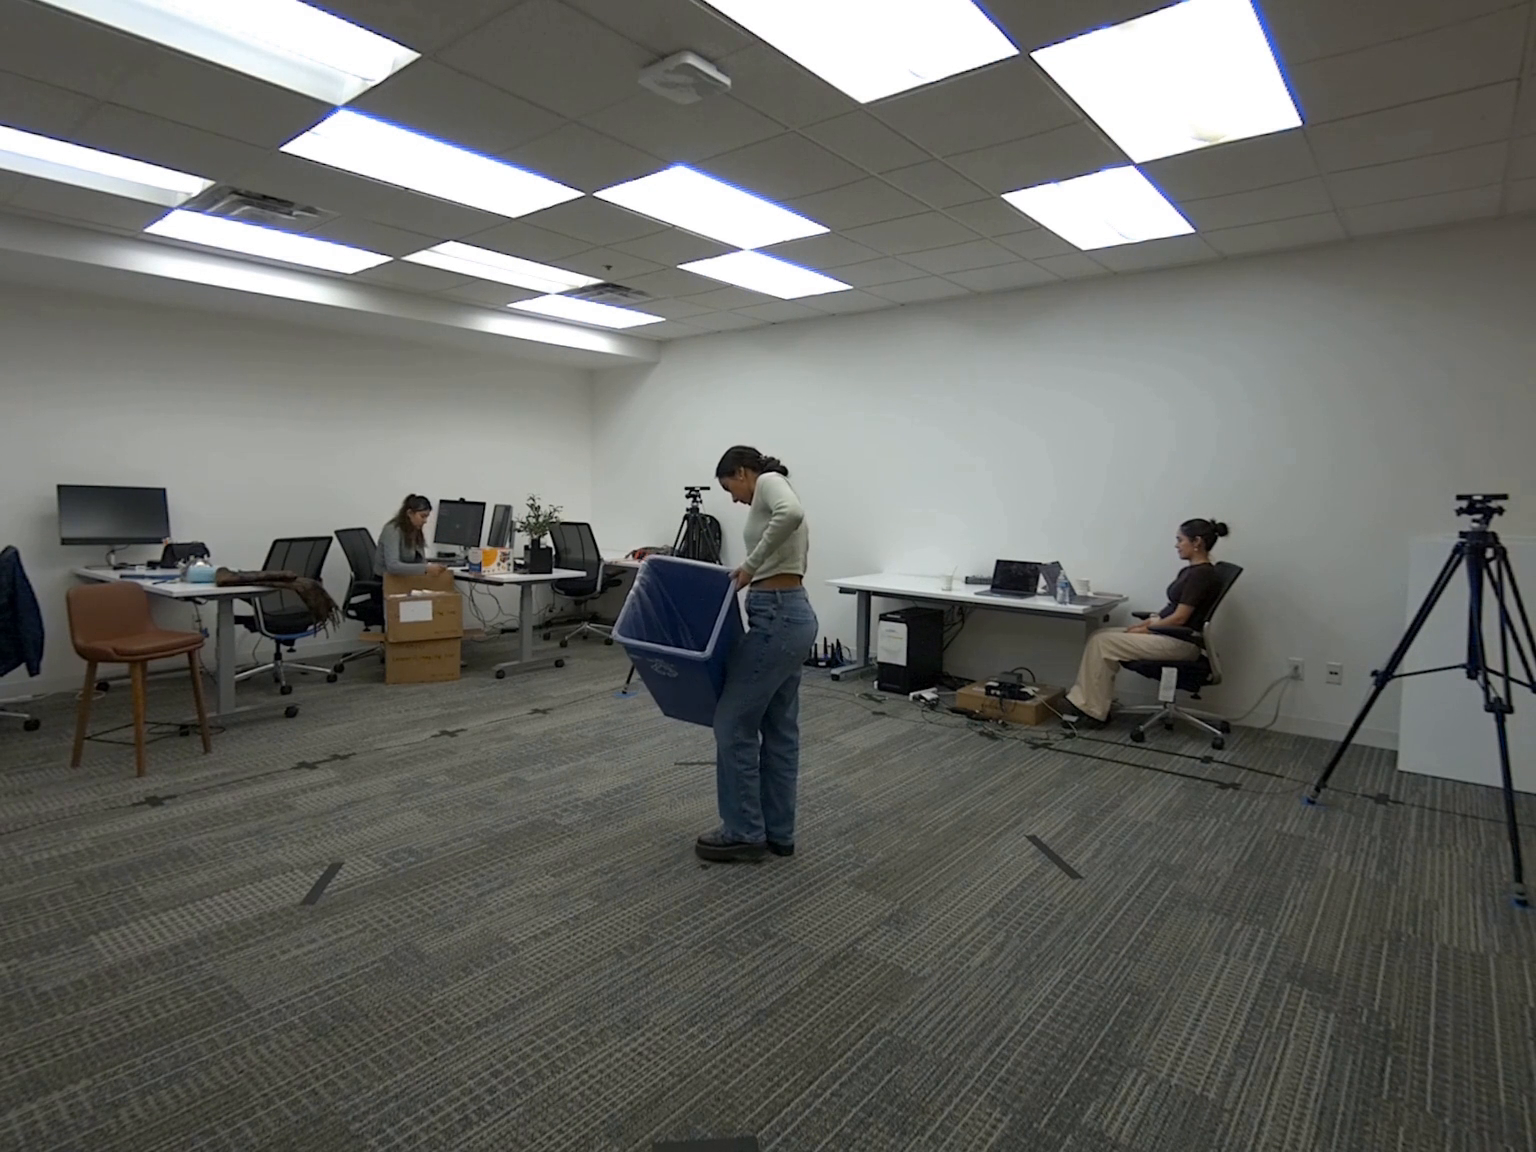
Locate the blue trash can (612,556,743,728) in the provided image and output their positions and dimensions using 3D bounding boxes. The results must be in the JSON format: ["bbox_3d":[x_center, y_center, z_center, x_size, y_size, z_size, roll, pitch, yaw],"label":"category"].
[{"bbox_3d":[-0.299,0.282,3.265,0.381,0.383,0.689,10,-32,15],"label":"blue trash can"}]
